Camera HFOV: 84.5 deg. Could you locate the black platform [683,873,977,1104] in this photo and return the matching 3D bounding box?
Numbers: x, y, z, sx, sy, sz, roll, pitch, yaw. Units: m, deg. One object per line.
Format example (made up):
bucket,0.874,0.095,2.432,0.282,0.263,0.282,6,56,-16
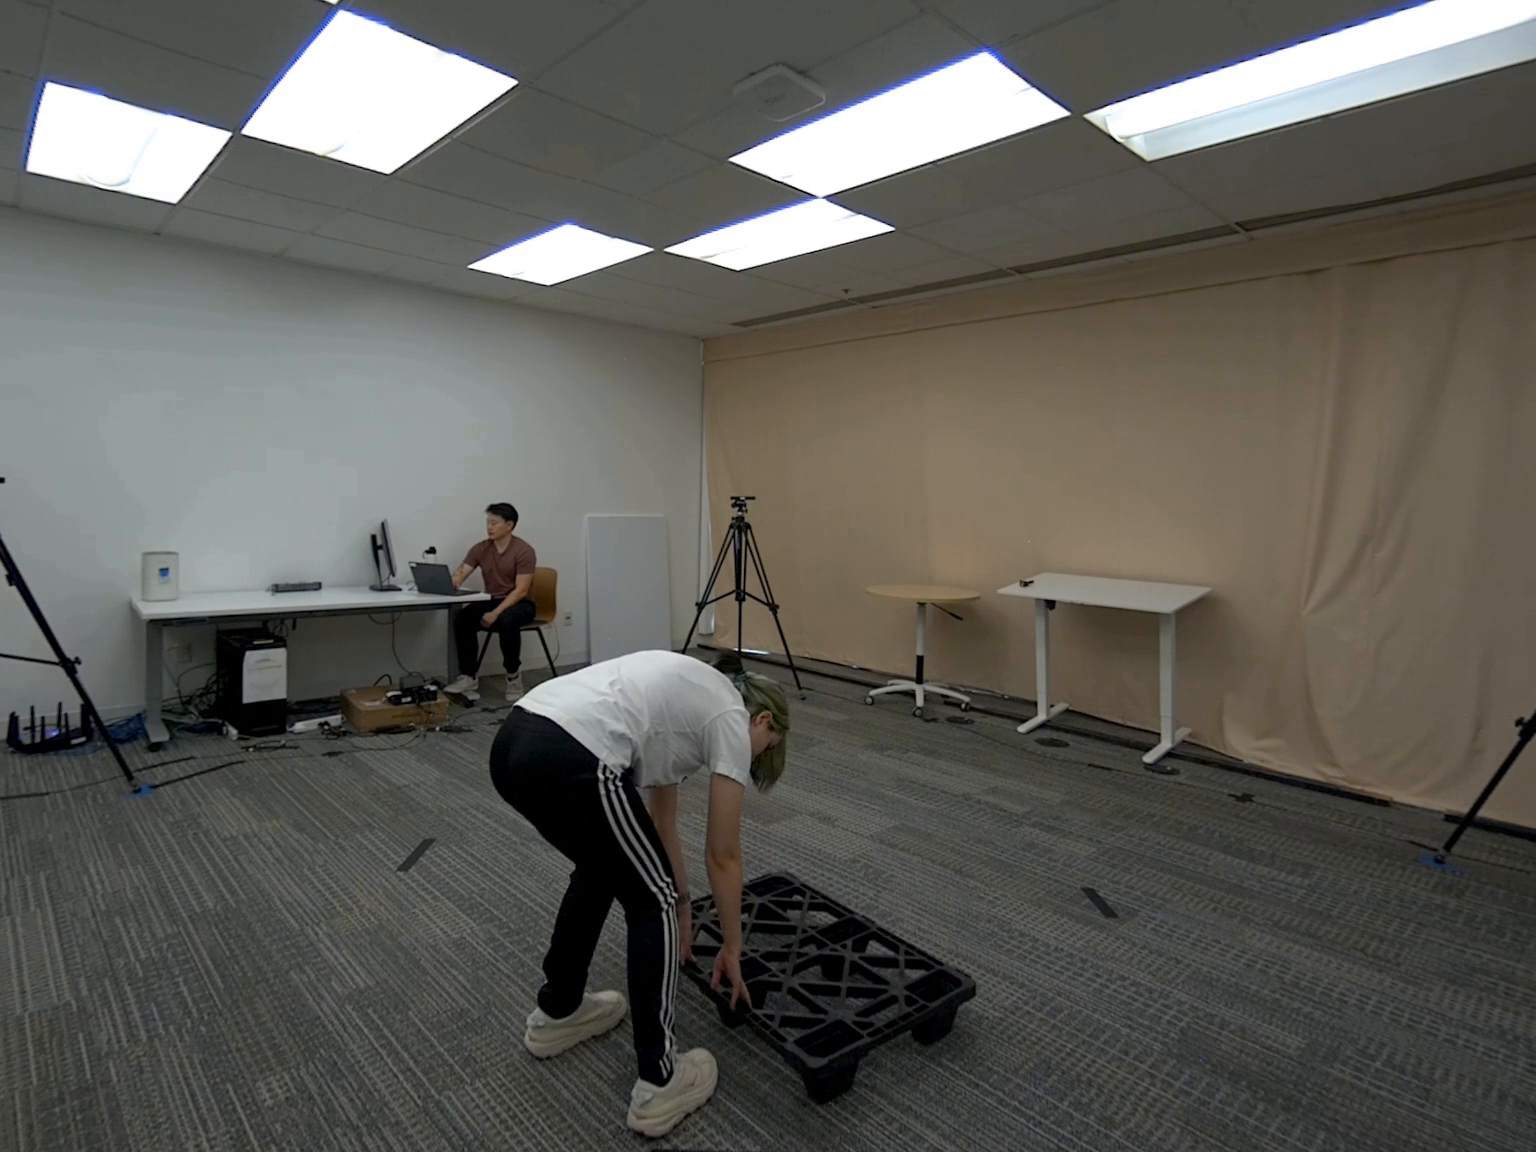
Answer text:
black platform,0.066,1.112,2.357,0.592,0.143,0.826,-3,7,-38
